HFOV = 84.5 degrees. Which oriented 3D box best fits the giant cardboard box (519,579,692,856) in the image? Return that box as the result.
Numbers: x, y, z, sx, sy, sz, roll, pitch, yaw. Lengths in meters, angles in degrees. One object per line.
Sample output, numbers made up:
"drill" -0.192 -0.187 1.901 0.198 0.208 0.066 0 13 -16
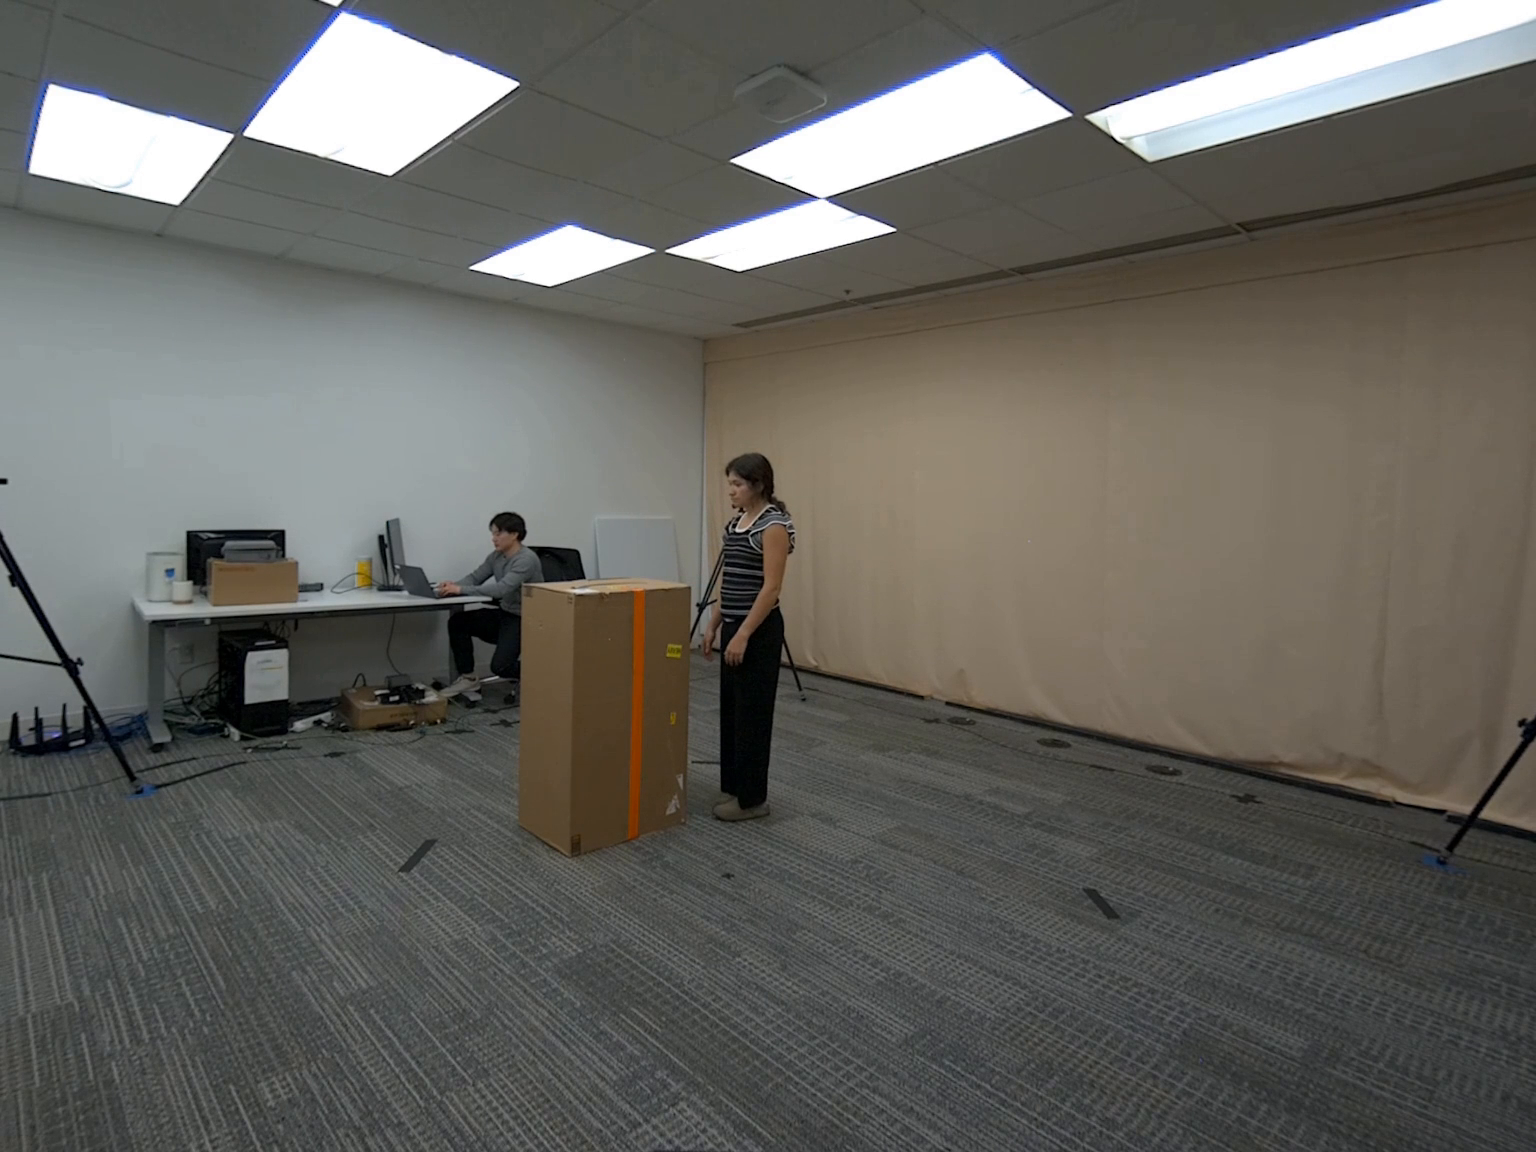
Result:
"giant cardboard box" -0.696 0.551 3.541 0.564 1.023 0.437 -2 4 -42
